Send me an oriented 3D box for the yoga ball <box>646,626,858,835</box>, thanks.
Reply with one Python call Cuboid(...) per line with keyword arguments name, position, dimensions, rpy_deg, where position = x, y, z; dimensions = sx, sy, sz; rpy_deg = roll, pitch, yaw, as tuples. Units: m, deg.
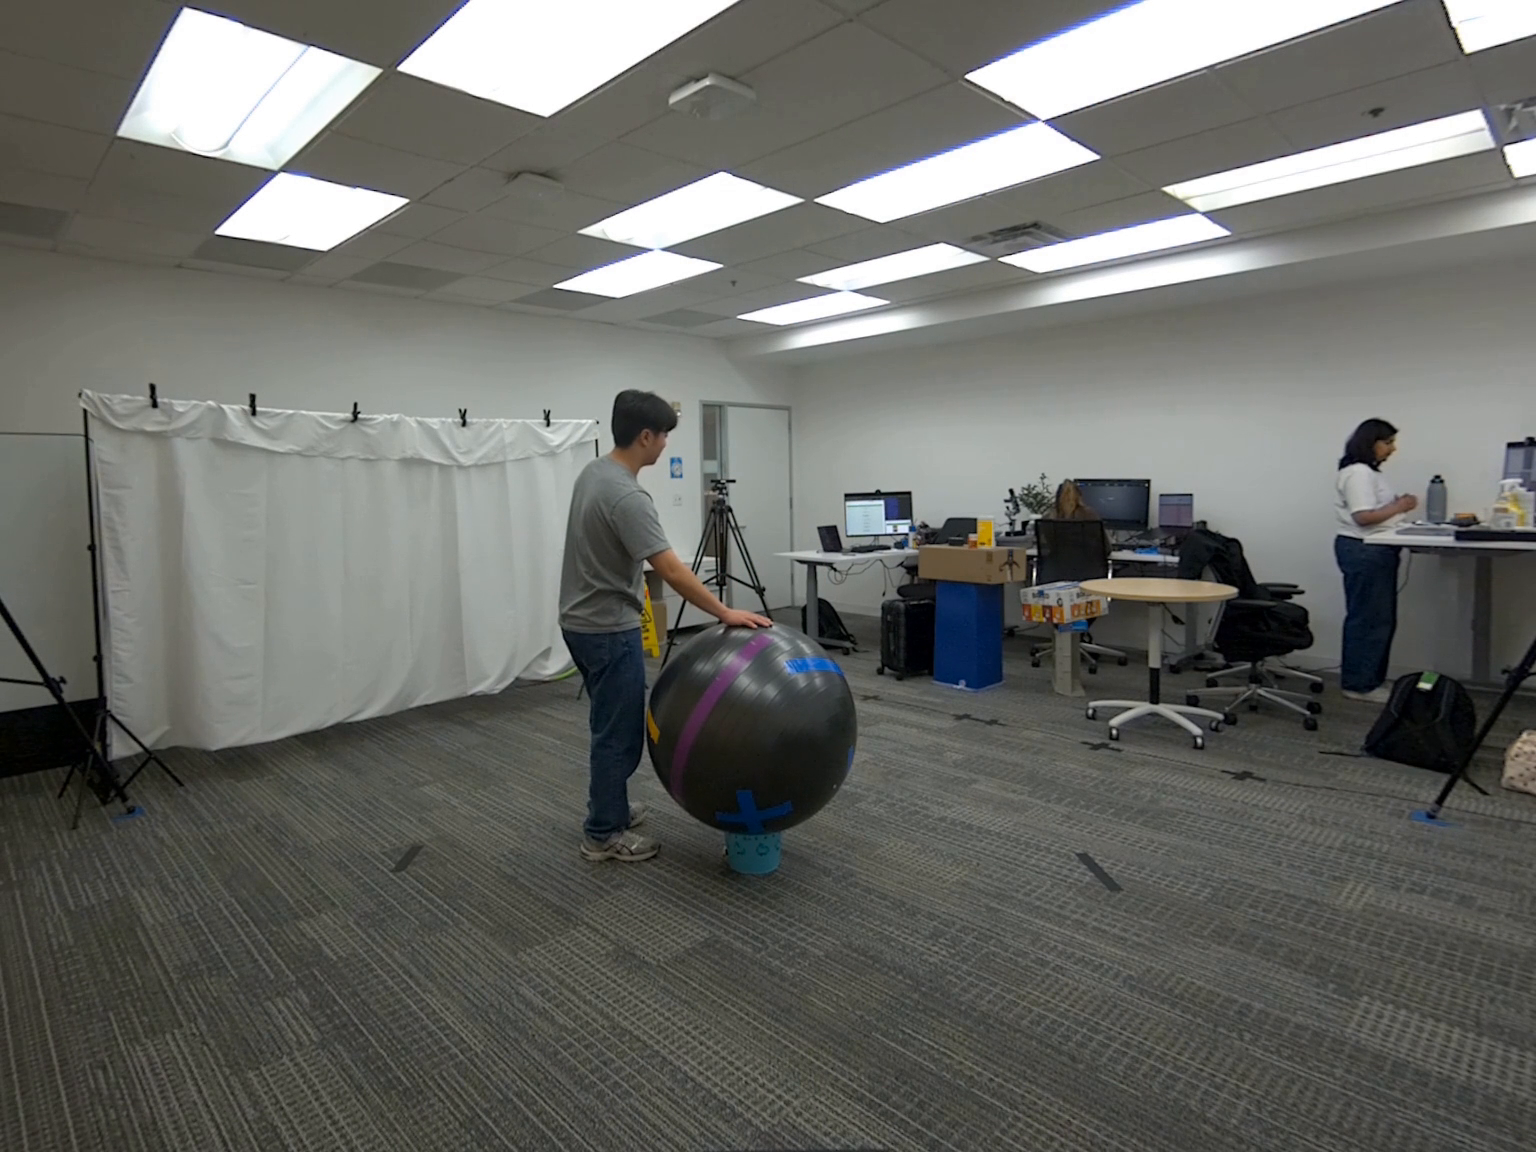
Cuboid(name="yoga ball", position=(-0.059, 0.536, 3.084), dimensions=(0.757, 0.755, 0.762), rpy_deg=(-1, 5, -2))
